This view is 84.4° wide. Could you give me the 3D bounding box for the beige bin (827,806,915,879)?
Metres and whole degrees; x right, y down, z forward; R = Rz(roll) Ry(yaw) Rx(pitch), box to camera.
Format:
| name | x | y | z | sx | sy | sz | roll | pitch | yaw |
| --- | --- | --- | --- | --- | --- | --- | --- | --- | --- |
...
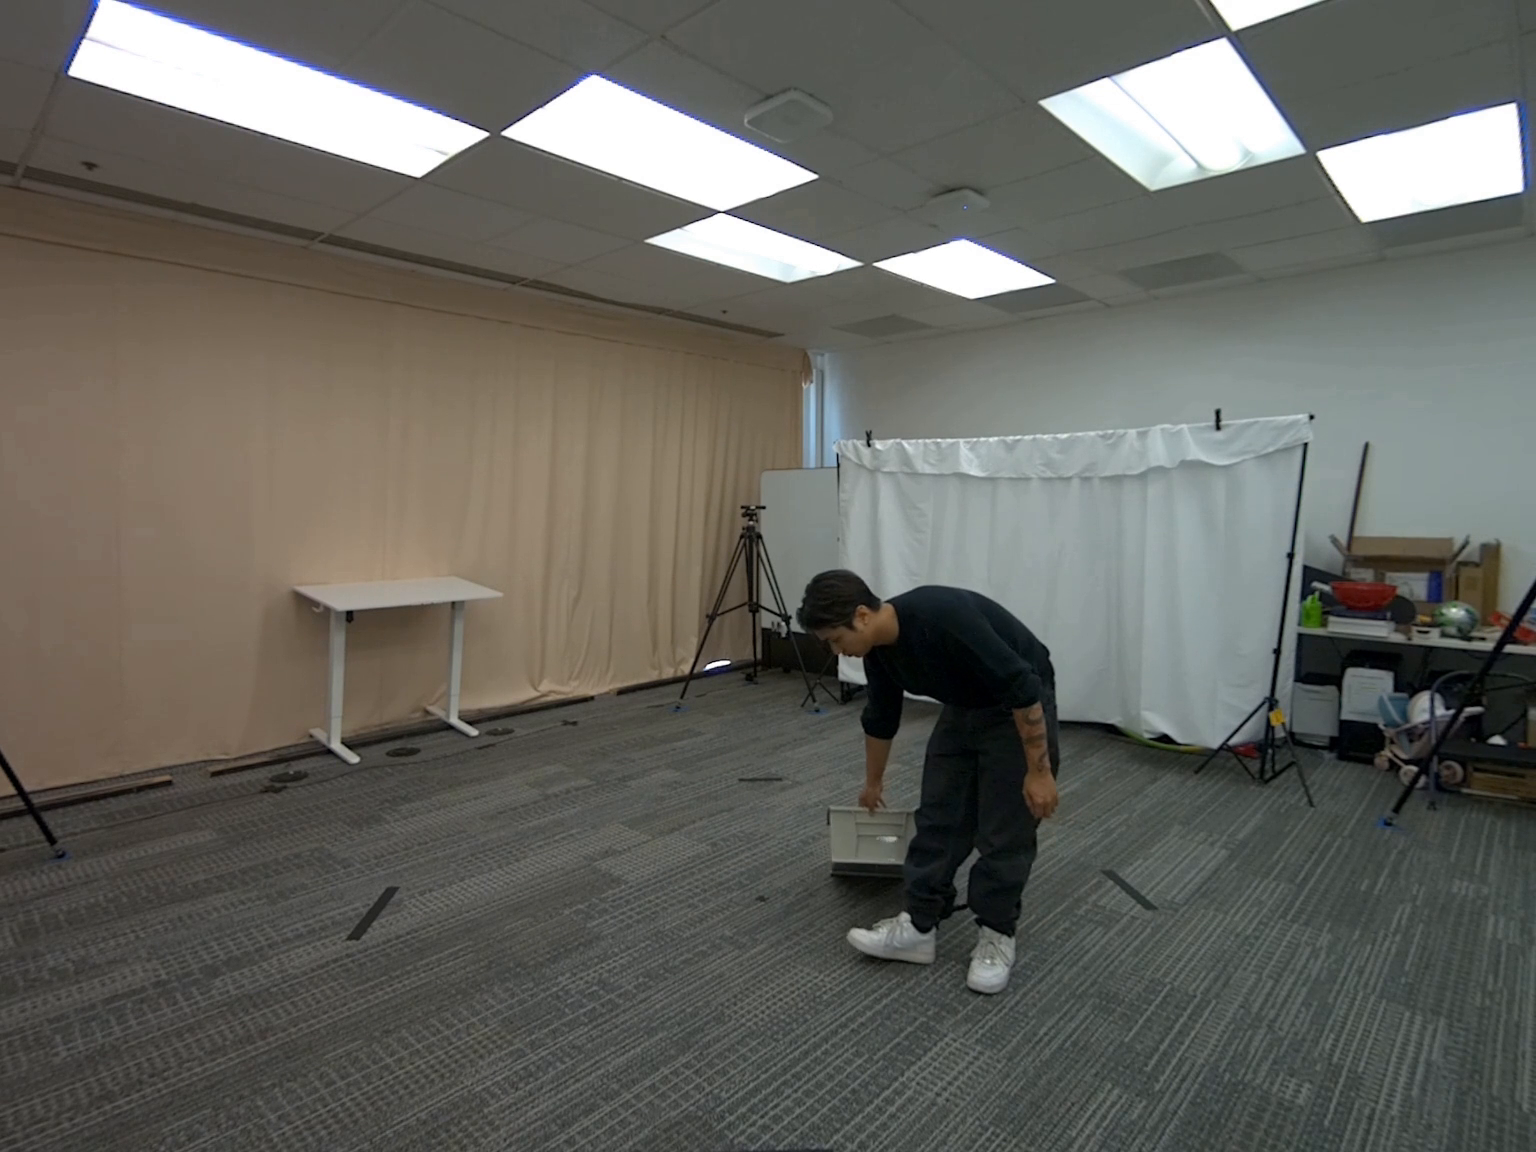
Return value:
| name | x | y | z | sx | sy | sz | roll | pitch | yaw |
| --- | --- | --- | --- | --- | --- | --- | --- | --- | --- |
| beige bin | 0.402 | 0.960 | 3.014 | 0.380 | 0.191 | 0.414 | -1 | -24 | 5 |
